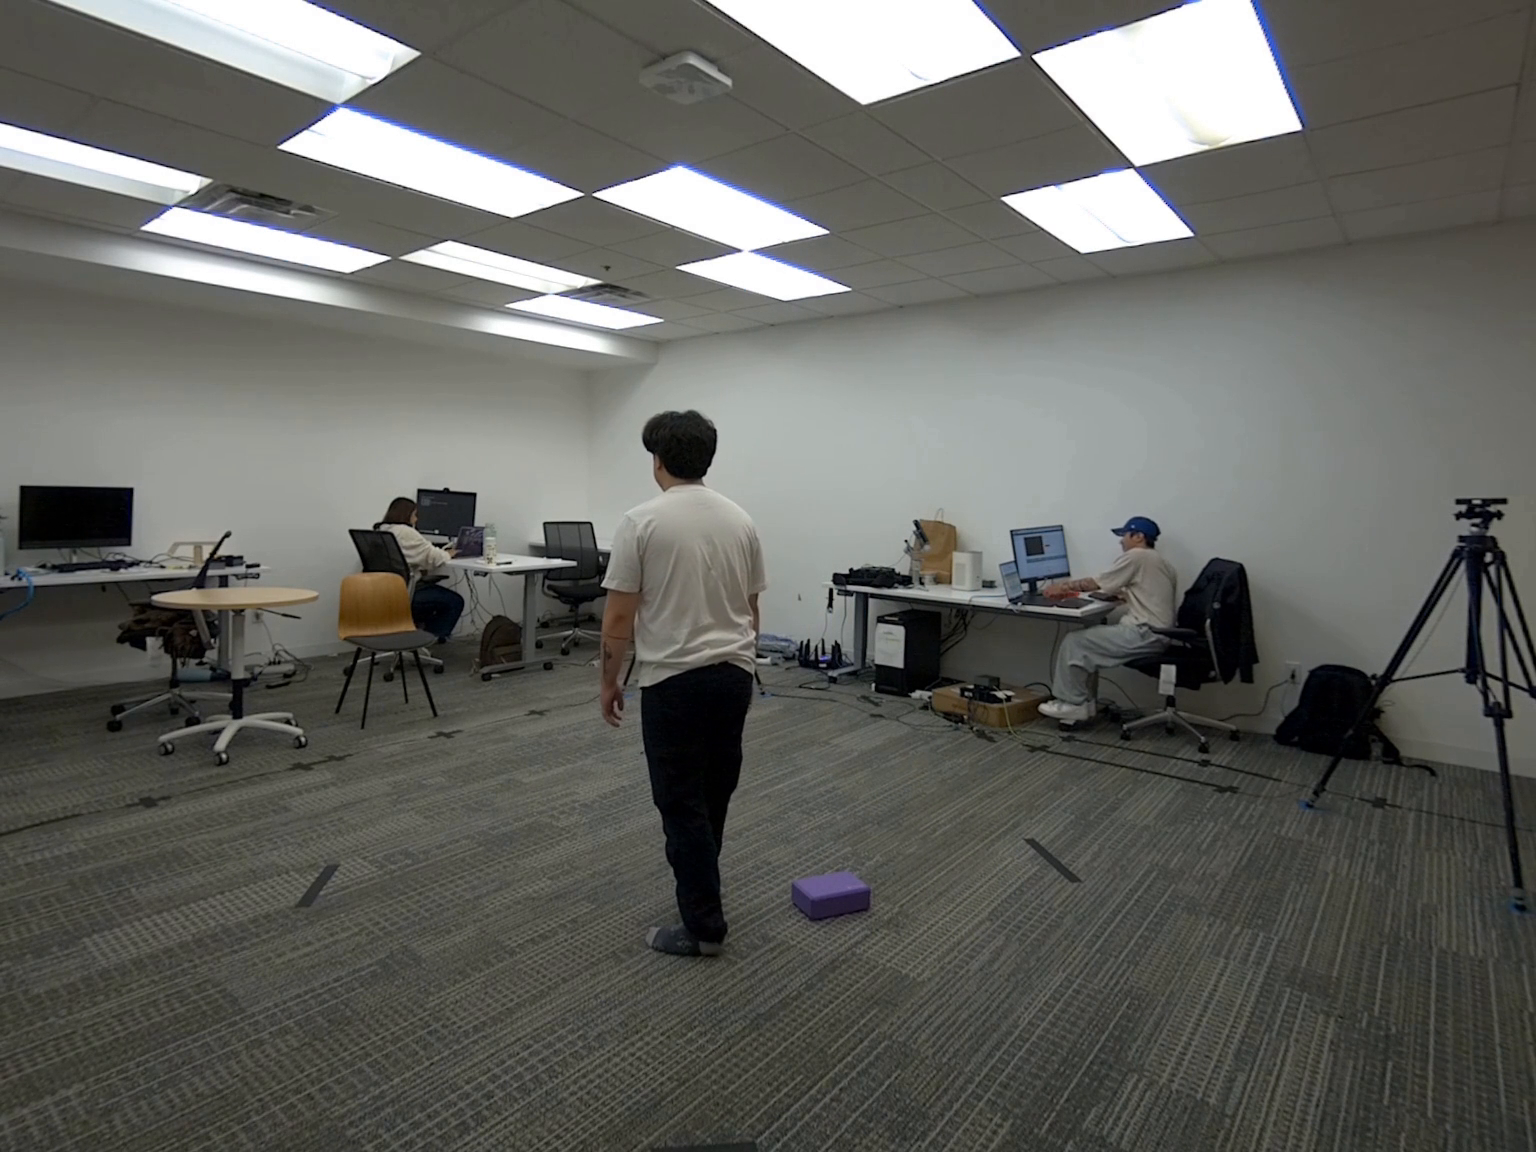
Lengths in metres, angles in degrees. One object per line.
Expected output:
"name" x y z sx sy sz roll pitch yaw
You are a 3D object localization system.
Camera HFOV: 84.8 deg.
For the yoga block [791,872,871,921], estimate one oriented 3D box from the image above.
"yoga block" 0.201 1.063 2.851 0.224 0.076 0.153 -1 4 -24
